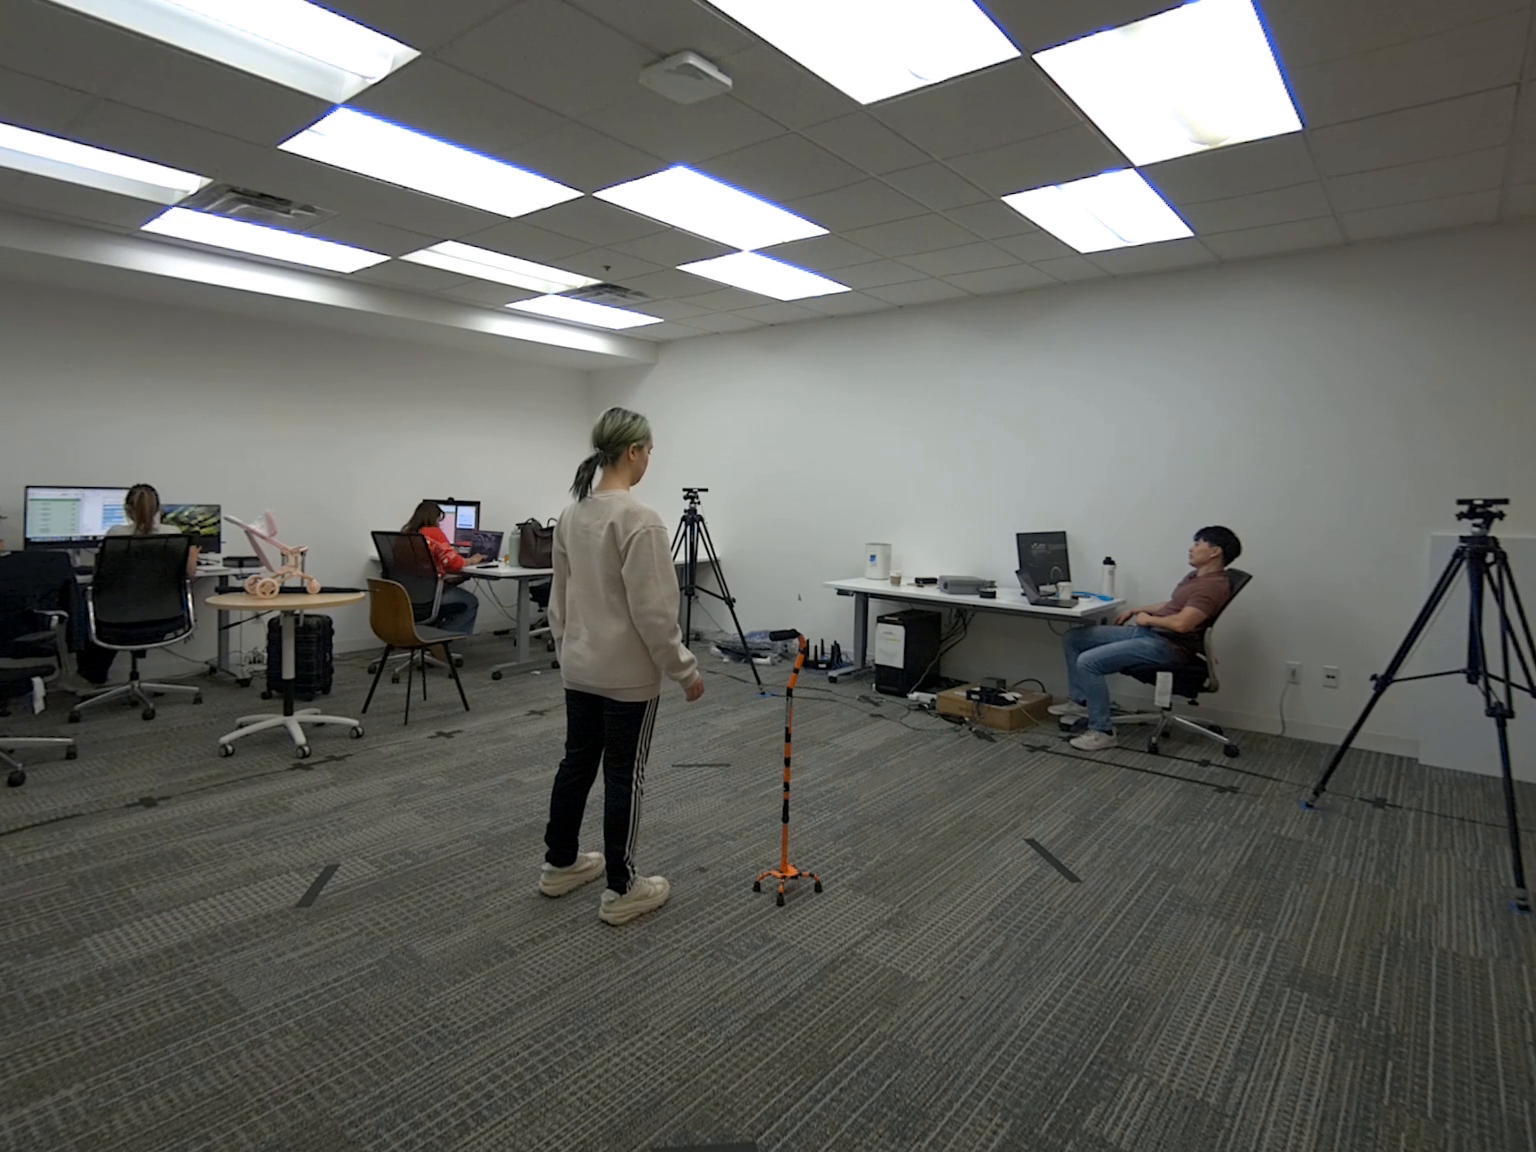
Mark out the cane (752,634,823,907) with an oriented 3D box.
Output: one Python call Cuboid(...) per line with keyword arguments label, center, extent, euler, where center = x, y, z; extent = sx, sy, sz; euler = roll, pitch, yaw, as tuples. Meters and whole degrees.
Cuboid(label="cane", center=(0.072, 0.637, 2.934), extent=(0.200, 0.905, 0.157), euler=(-1, 4, -39))
